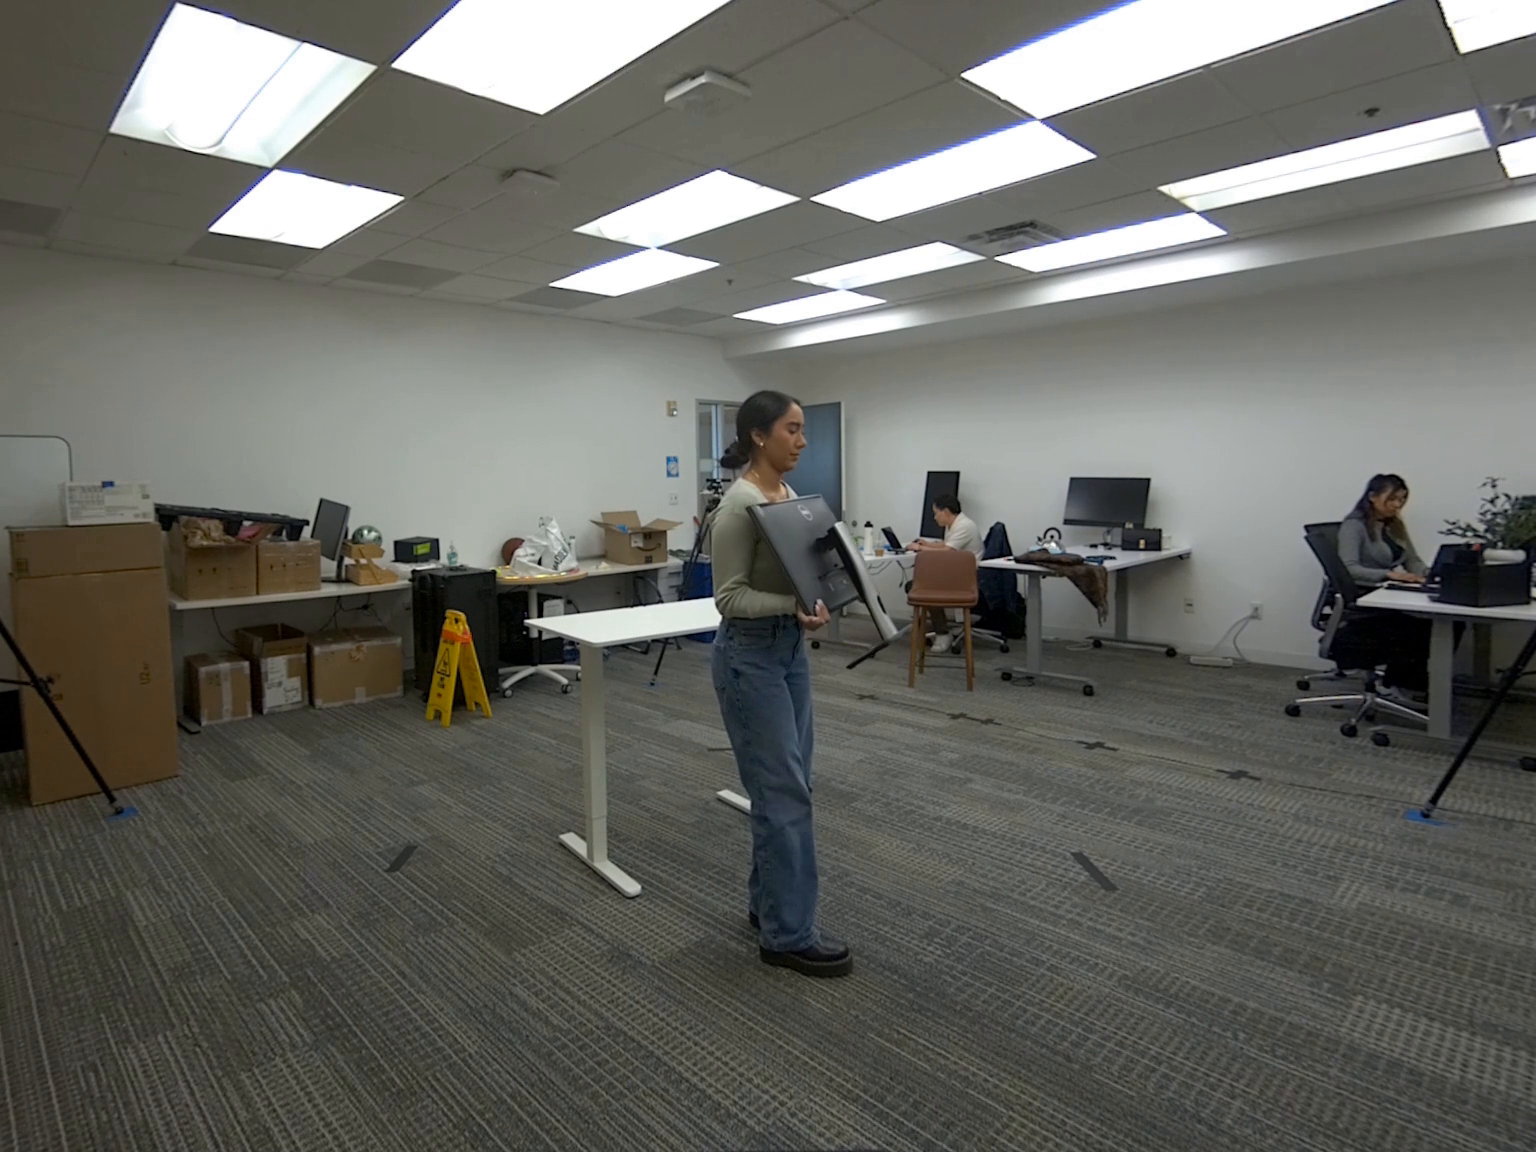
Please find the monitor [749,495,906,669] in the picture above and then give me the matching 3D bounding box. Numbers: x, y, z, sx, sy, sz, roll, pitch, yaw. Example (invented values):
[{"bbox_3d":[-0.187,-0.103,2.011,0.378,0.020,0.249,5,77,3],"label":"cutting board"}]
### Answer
[{"bbox_3d":[0.199,-0.008,2.447,0.187,0.531,0.529,-40,-11,22],"label":"monitor"}]
